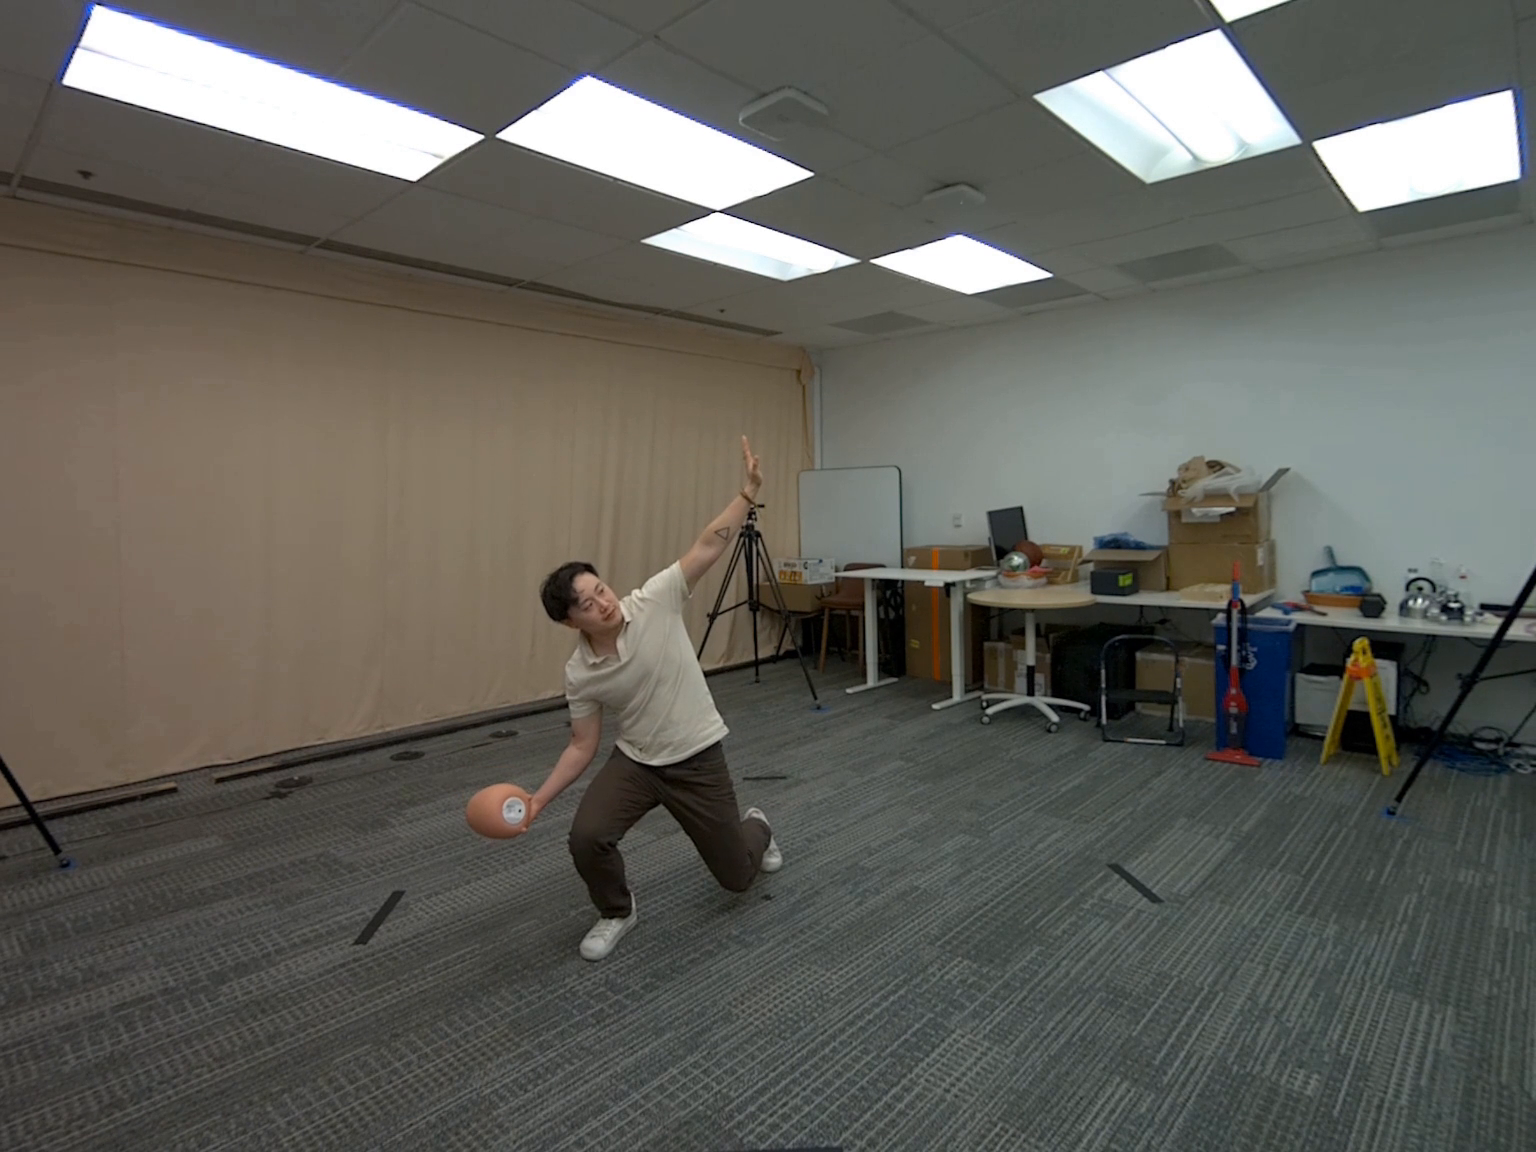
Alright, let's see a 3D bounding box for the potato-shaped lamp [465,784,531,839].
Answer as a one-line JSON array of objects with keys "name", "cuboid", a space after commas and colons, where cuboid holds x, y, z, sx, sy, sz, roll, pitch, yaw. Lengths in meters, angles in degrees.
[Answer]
[{"name": "potato-shaped lamp", "cuboid": [-0.850, 0.742, 2.633, 0.202, 0.167, 0.165, -21, -34, 39]}]
